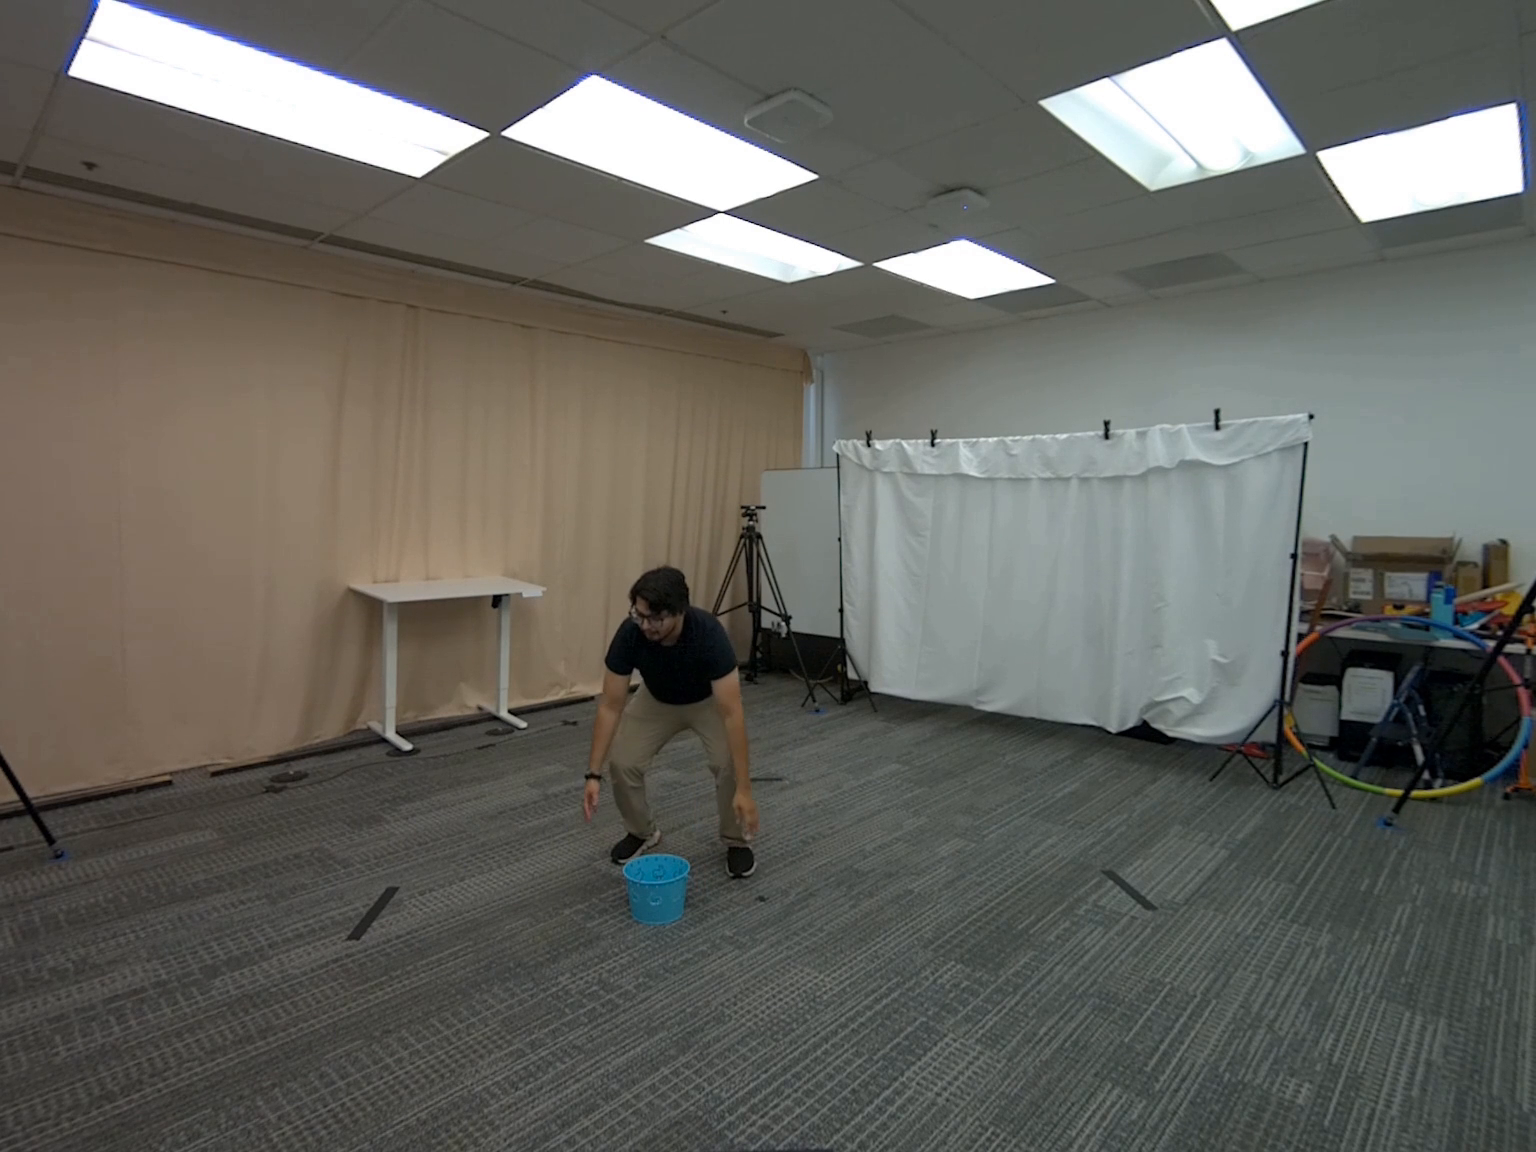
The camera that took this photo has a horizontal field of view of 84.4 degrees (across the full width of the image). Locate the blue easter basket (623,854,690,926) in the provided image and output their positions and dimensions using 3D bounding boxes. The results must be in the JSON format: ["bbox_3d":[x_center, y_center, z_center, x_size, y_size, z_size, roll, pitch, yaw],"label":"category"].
[{"bbox_3d":[-0.380,1.078,2.890,0.243,0.155,0.244,-1,4,-2],"label":"blue easter basket"}]
